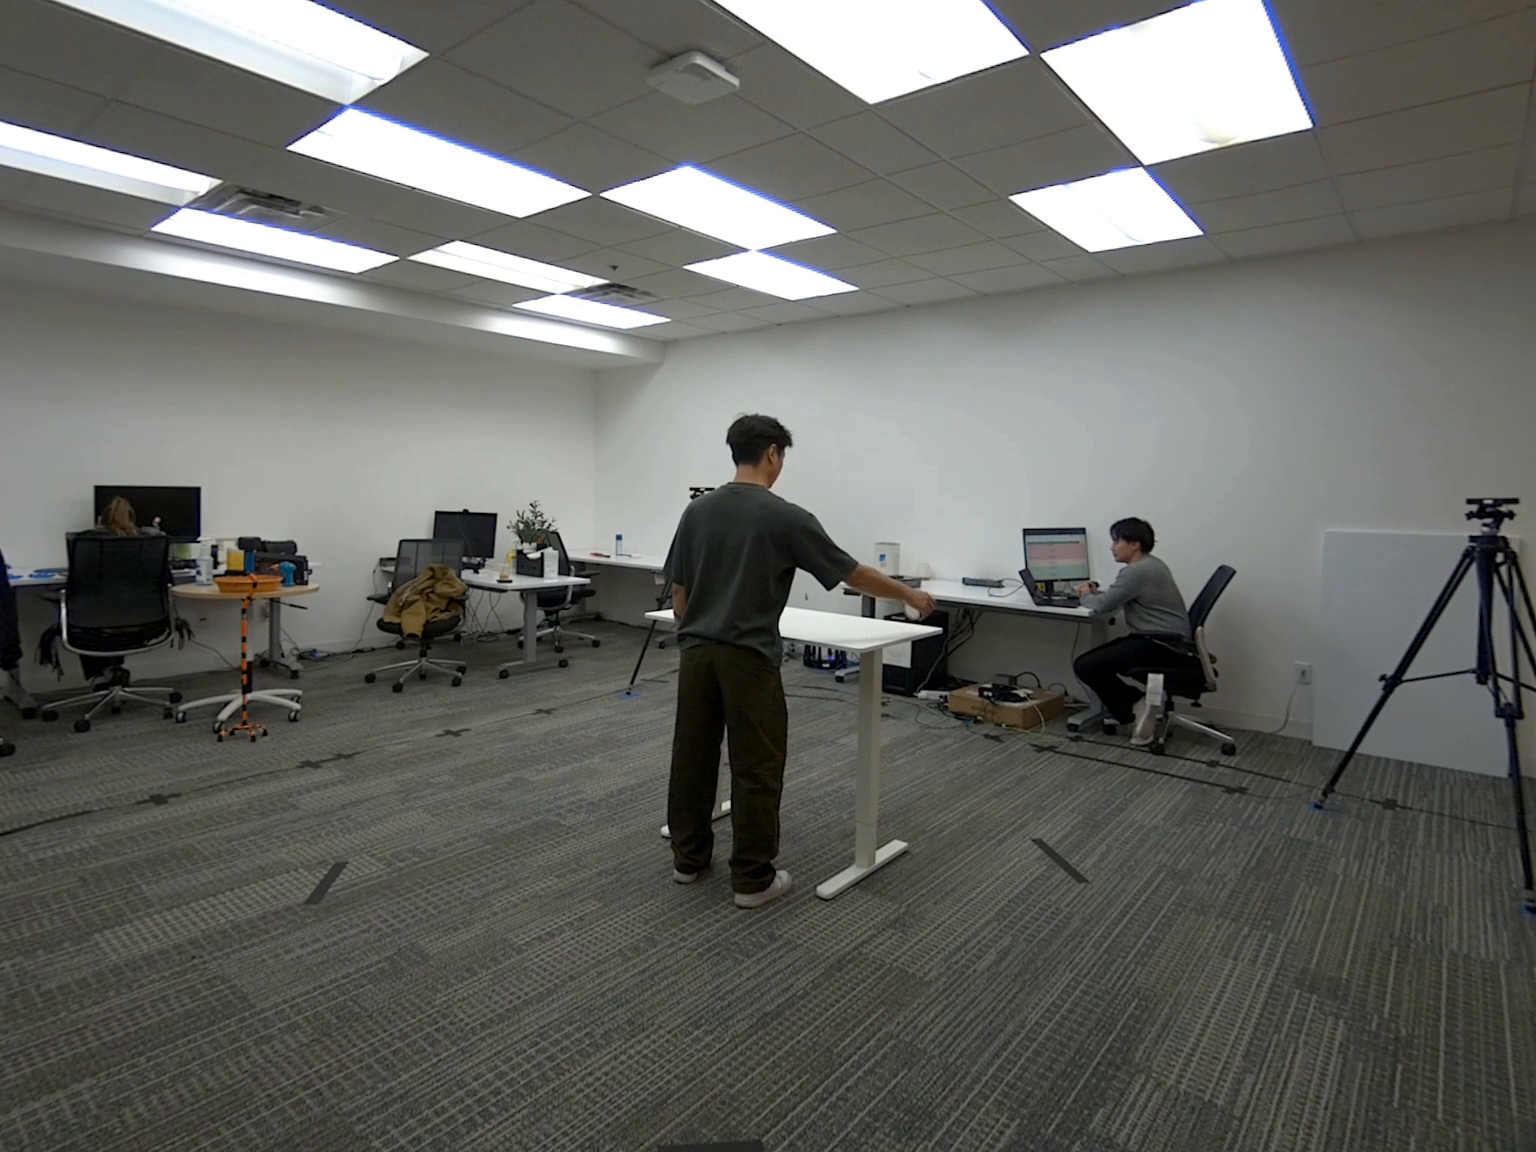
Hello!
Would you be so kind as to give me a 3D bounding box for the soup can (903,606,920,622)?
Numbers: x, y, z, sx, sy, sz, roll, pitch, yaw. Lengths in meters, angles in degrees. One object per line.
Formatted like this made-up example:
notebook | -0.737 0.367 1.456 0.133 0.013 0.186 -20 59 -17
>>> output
soup can | 0.528 0.101 3.026 0.119 0.066 0.069 -17 15 -39
